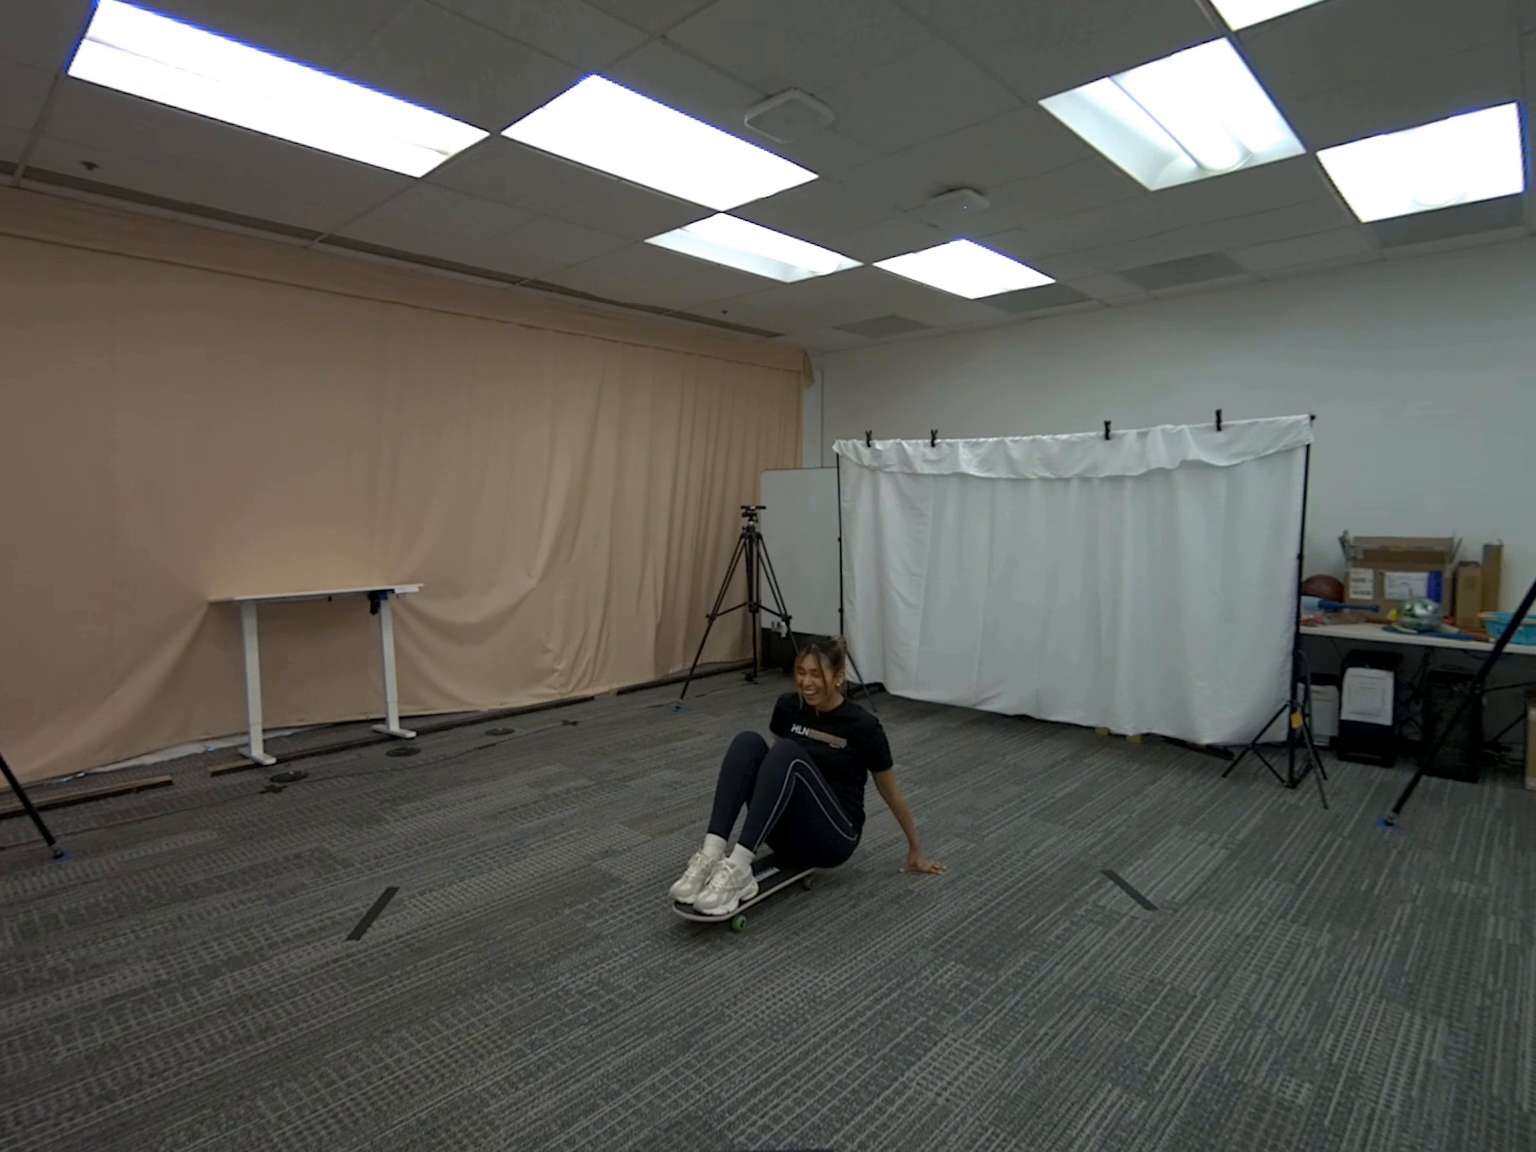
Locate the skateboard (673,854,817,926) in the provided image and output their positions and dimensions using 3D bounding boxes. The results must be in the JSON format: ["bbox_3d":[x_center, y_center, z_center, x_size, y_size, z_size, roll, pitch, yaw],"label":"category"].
[{"bbox_3d":[-0.026,1.094,2.966,0.200,0.110,0.762,1,4,38],"label":"skateboard"}]
